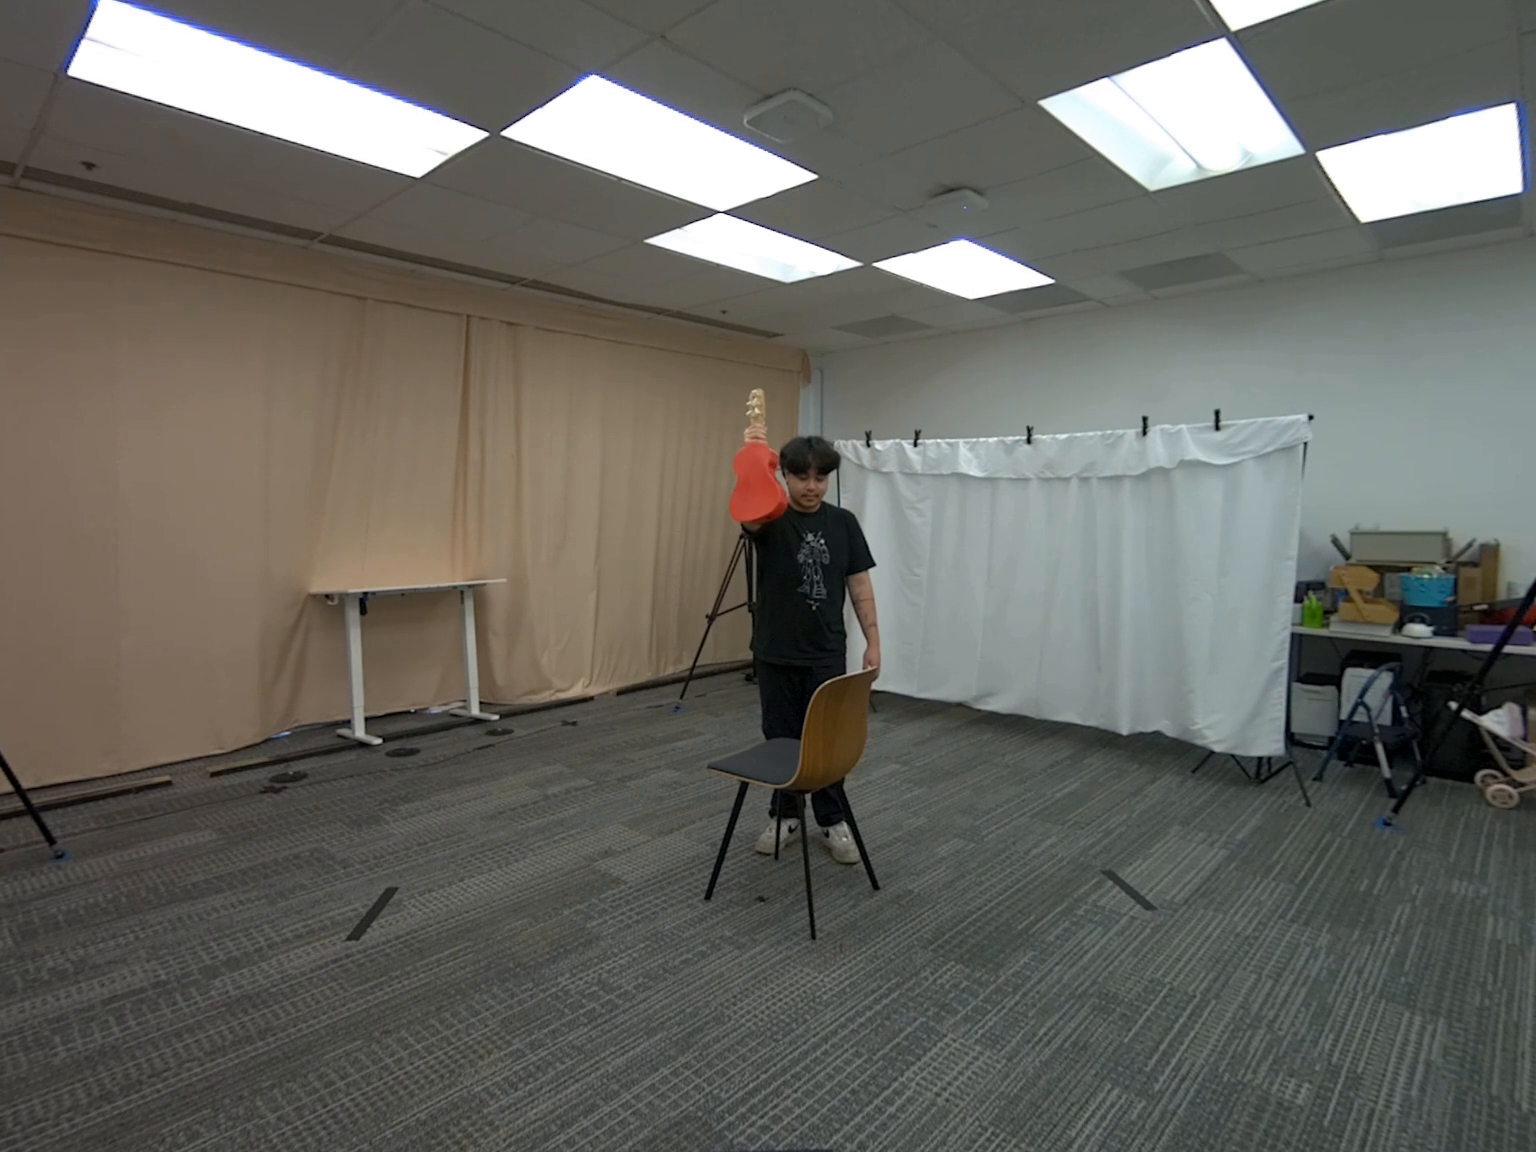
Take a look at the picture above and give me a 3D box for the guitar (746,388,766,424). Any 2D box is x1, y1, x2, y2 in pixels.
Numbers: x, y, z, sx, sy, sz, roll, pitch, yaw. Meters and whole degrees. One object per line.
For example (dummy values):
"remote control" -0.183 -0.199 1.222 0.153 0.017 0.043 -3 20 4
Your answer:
"guitar" -0.062 -0.408 2.853 0.196 0.507 0.068 -23 -26 27
